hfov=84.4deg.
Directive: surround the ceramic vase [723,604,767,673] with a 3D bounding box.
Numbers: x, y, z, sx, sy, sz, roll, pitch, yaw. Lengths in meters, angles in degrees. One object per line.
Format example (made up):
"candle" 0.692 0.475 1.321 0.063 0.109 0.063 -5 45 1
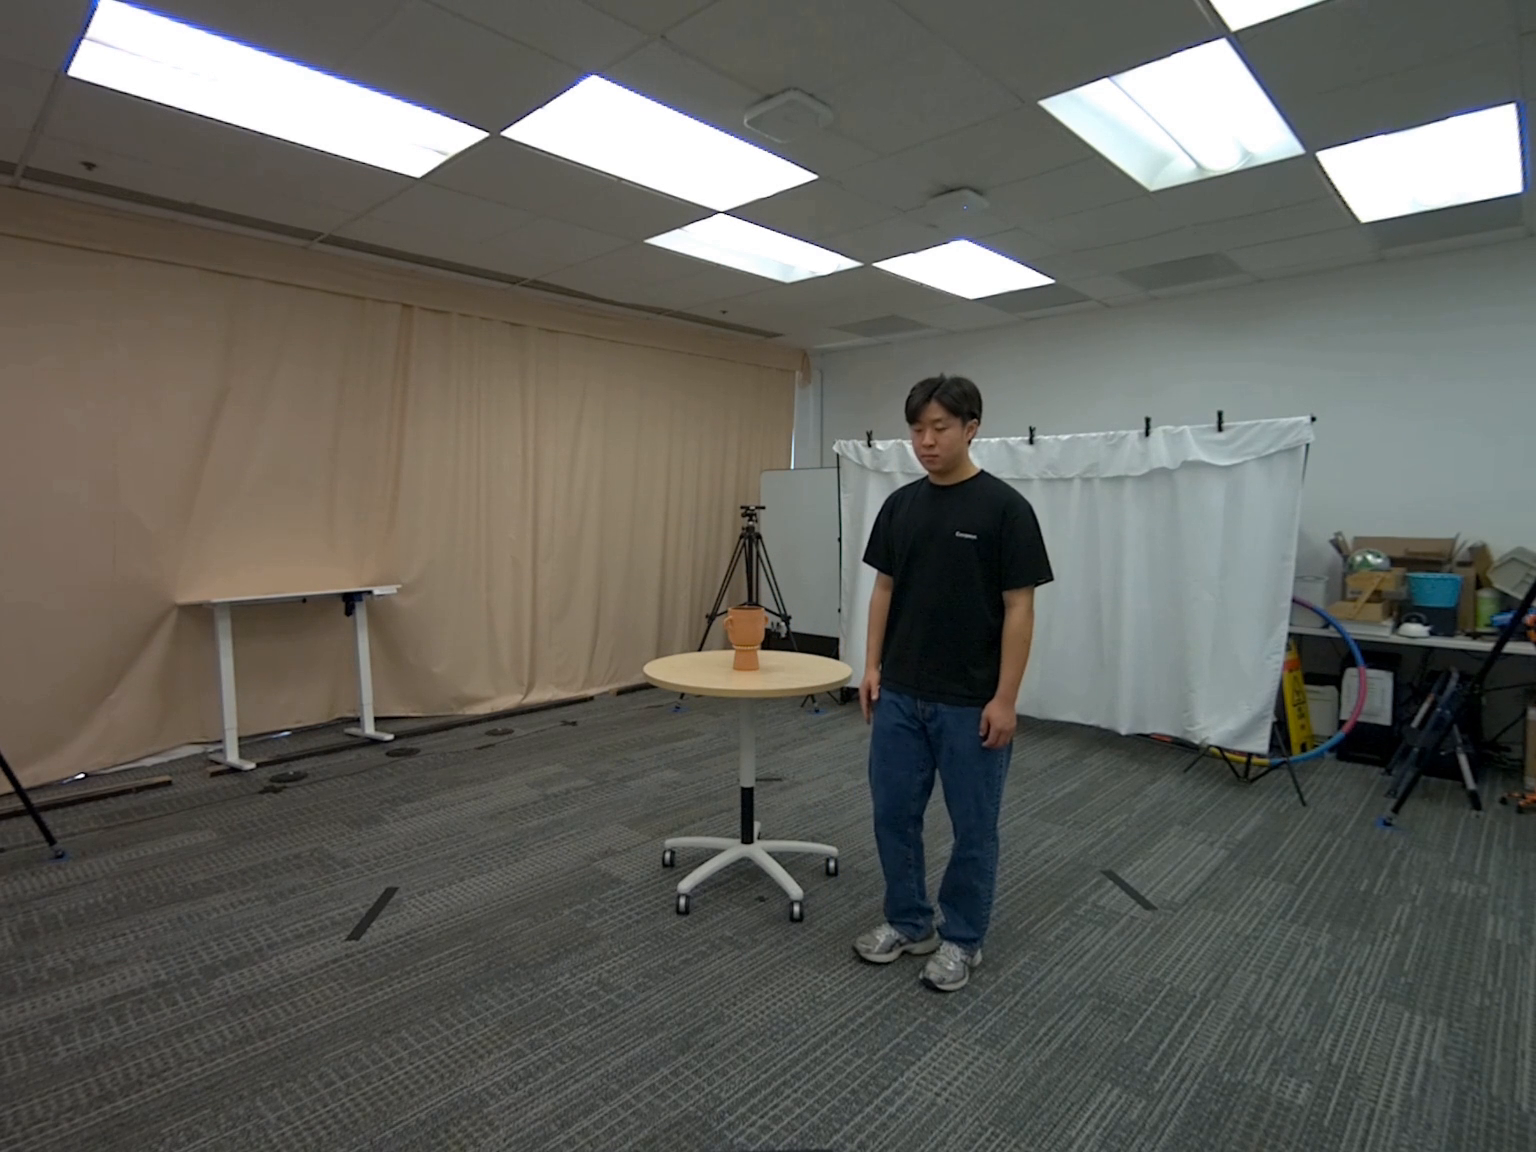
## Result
"ceramic vase" -0.076 0.234 3.077 0.160 0.219 0.134 -1 3 7
